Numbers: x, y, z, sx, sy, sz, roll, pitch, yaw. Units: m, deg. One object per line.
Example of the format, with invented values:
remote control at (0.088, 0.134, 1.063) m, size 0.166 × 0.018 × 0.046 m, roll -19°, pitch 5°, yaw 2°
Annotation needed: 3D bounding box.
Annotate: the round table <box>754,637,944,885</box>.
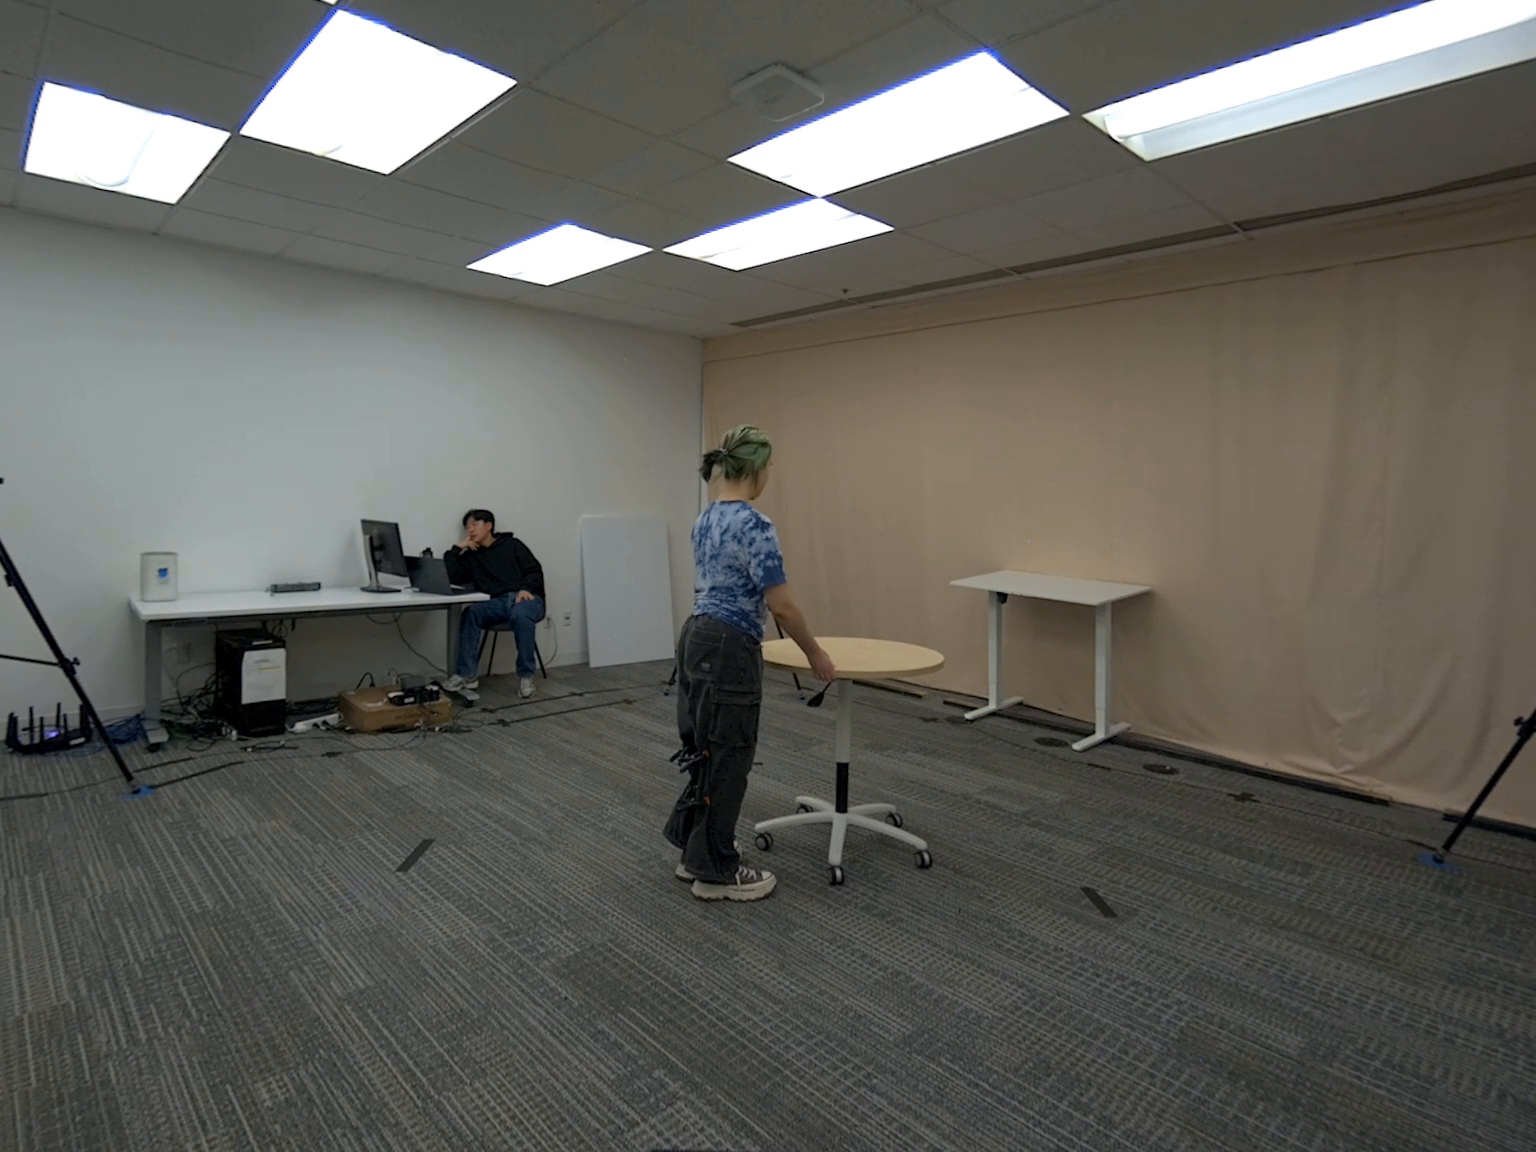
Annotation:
round table at (0.292, 0.699, 3.375) m, size 0.763 × 0.792 × 0.766 m, roll 1°, pitch 3°, yaw -1°
